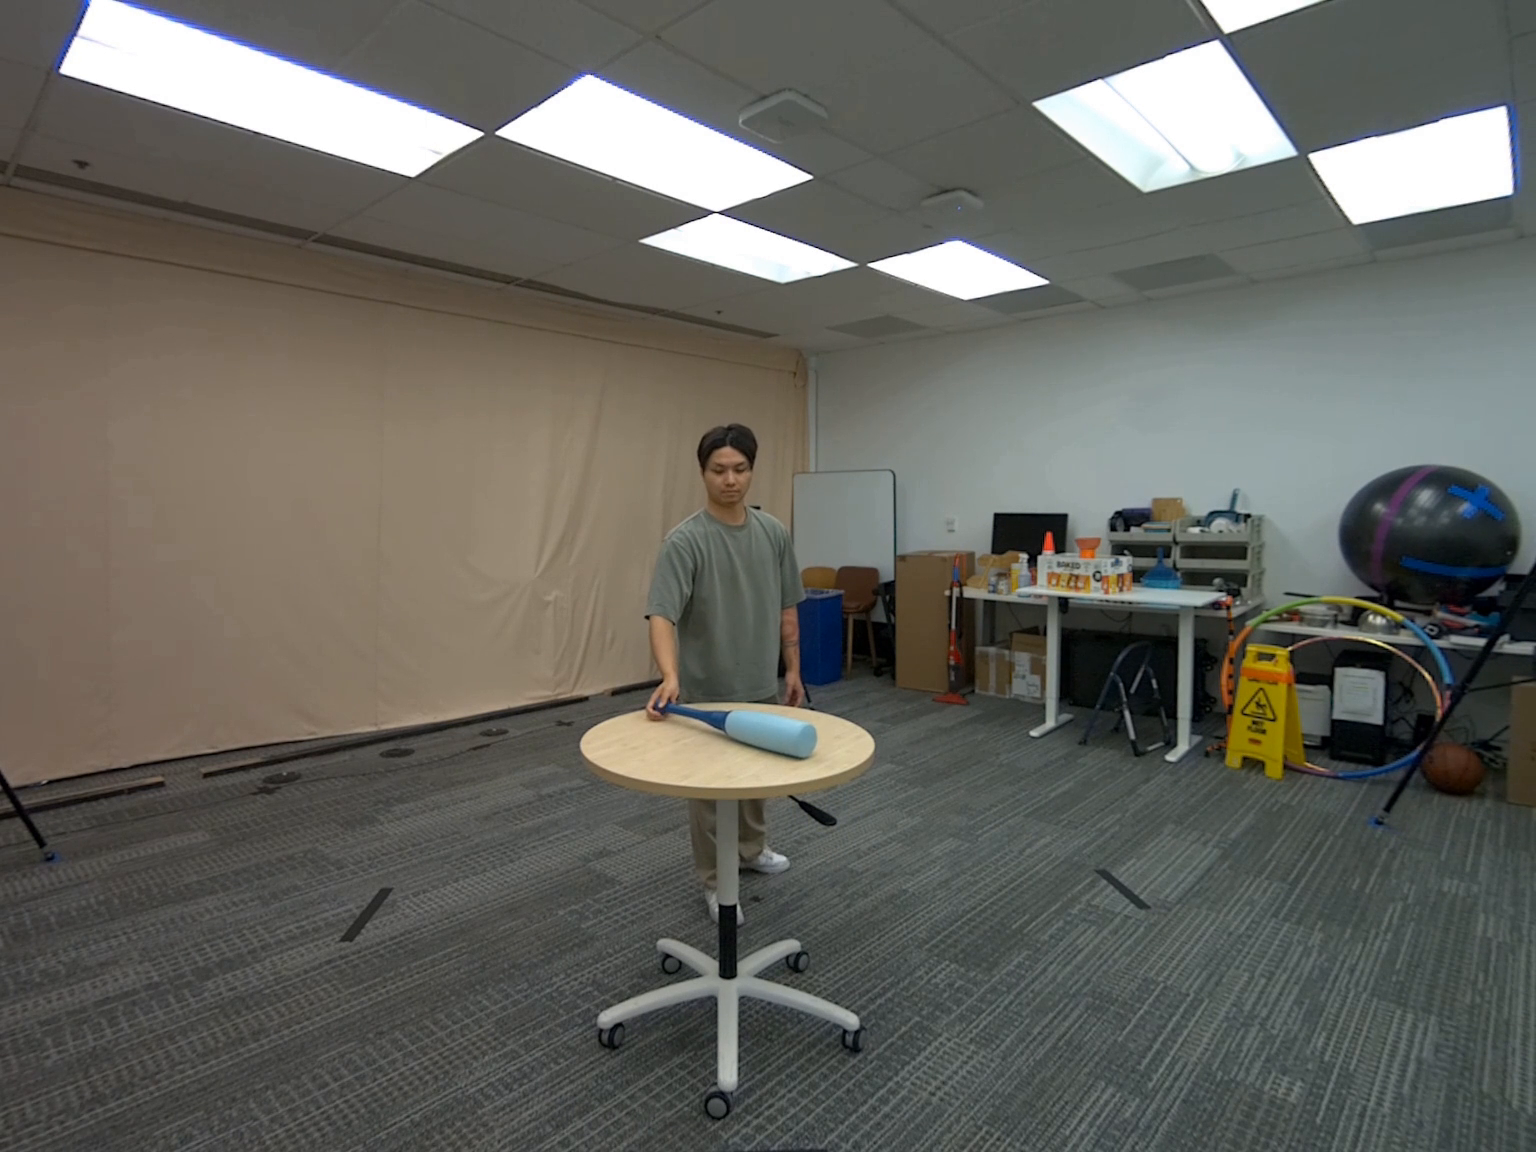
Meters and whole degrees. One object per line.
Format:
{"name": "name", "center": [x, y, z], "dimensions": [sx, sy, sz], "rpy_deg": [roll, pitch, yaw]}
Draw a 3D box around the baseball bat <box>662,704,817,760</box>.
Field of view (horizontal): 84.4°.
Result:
{"name": "baseball bat", "center": [-0.099, 0.383, 2.219], "dimensions": [0.561, 0.089, 0.086], "rpy_deg": [5, 6, 45]}
